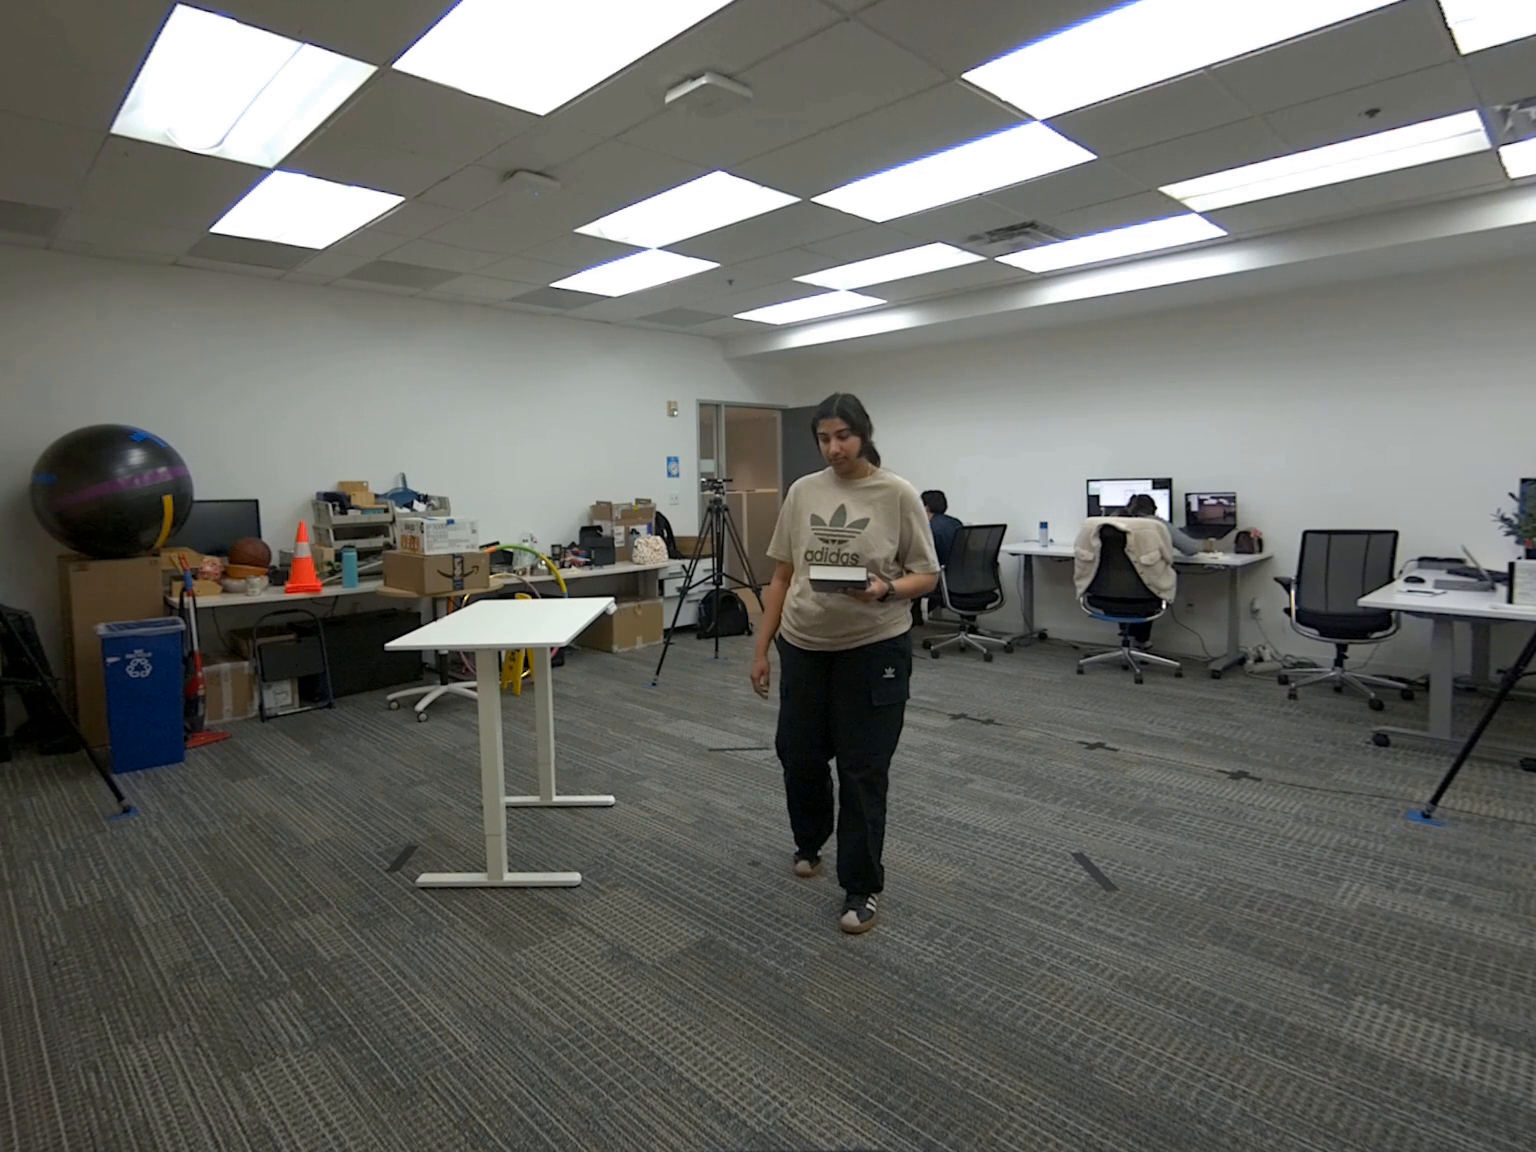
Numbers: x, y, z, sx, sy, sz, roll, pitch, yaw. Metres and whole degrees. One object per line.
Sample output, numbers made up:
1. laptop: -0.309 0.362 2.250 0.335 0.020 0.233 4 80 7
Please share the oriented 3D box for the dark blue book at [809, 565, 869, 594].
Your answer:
1. dark blue book: 0.219 0.019 2.473 0.164 0.045 0.241 4 -9 6
